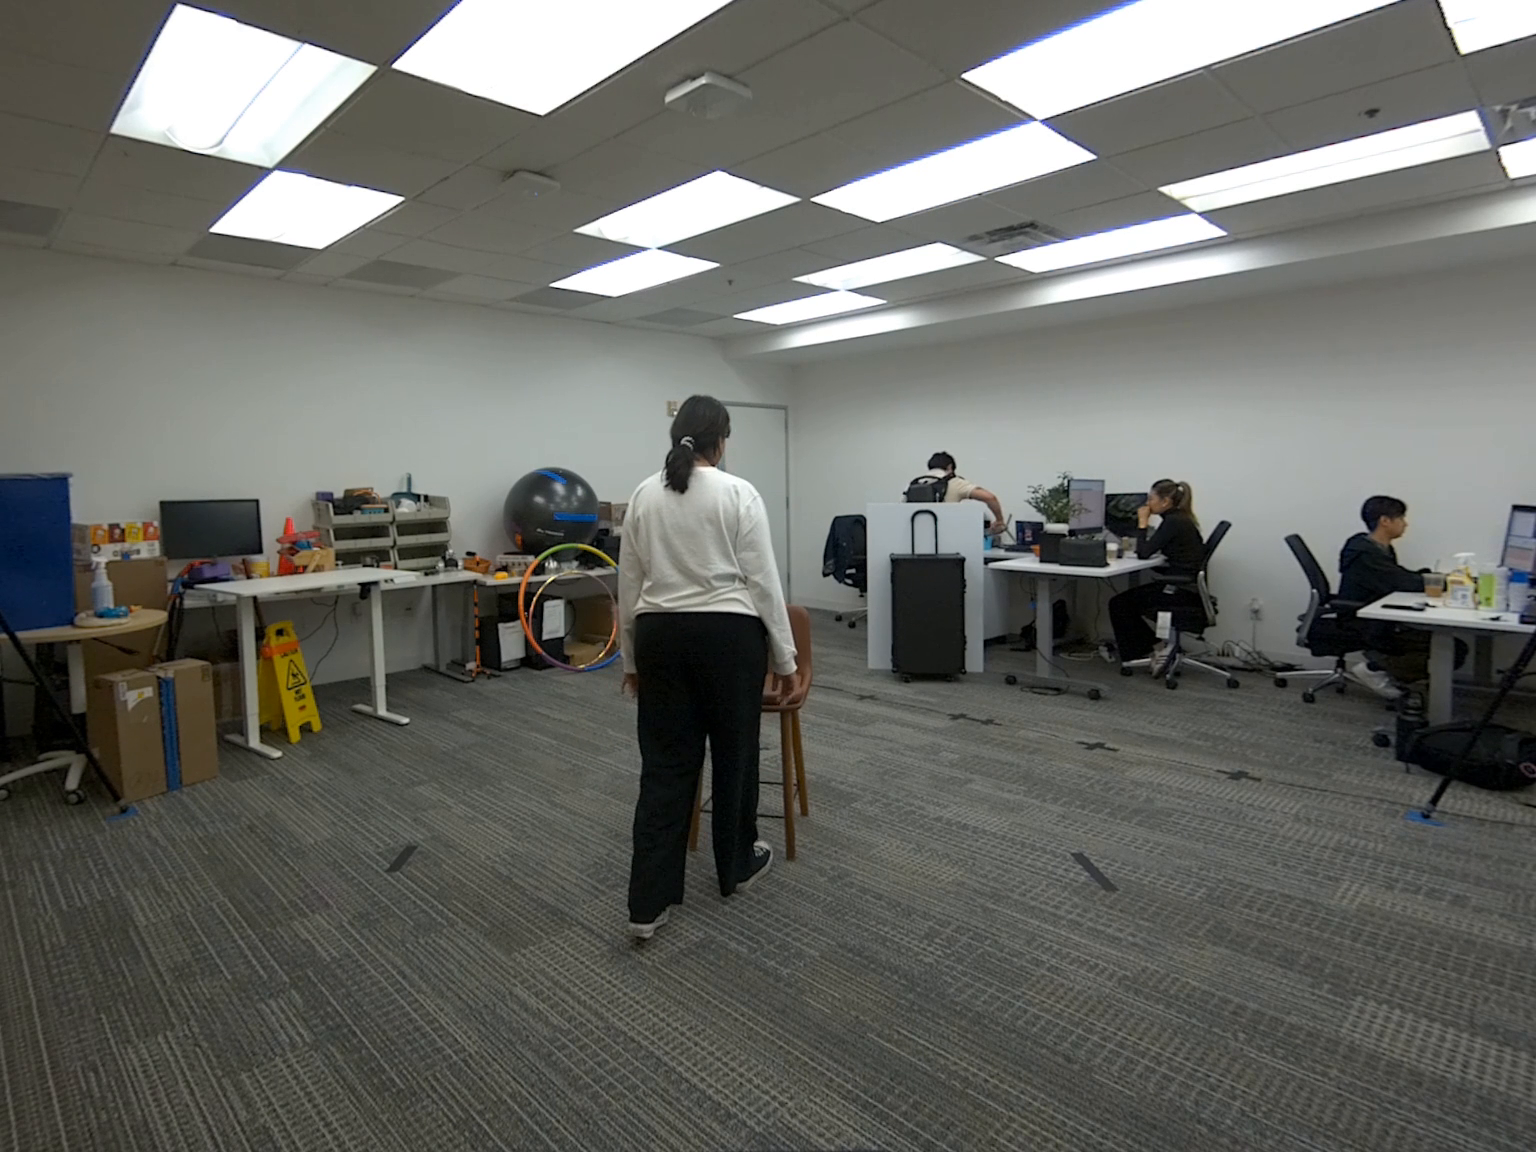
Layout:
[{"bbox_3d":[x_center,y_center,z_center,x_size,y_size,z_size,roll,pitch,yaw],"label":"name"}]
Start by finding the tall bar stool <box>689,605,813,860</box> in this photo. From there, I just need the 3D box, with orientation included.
[{"bbox_3d":[-0.058,0.581,3.370,0.463,0.888,0.462,0,2,14],"label":"tall bar stool"}]
